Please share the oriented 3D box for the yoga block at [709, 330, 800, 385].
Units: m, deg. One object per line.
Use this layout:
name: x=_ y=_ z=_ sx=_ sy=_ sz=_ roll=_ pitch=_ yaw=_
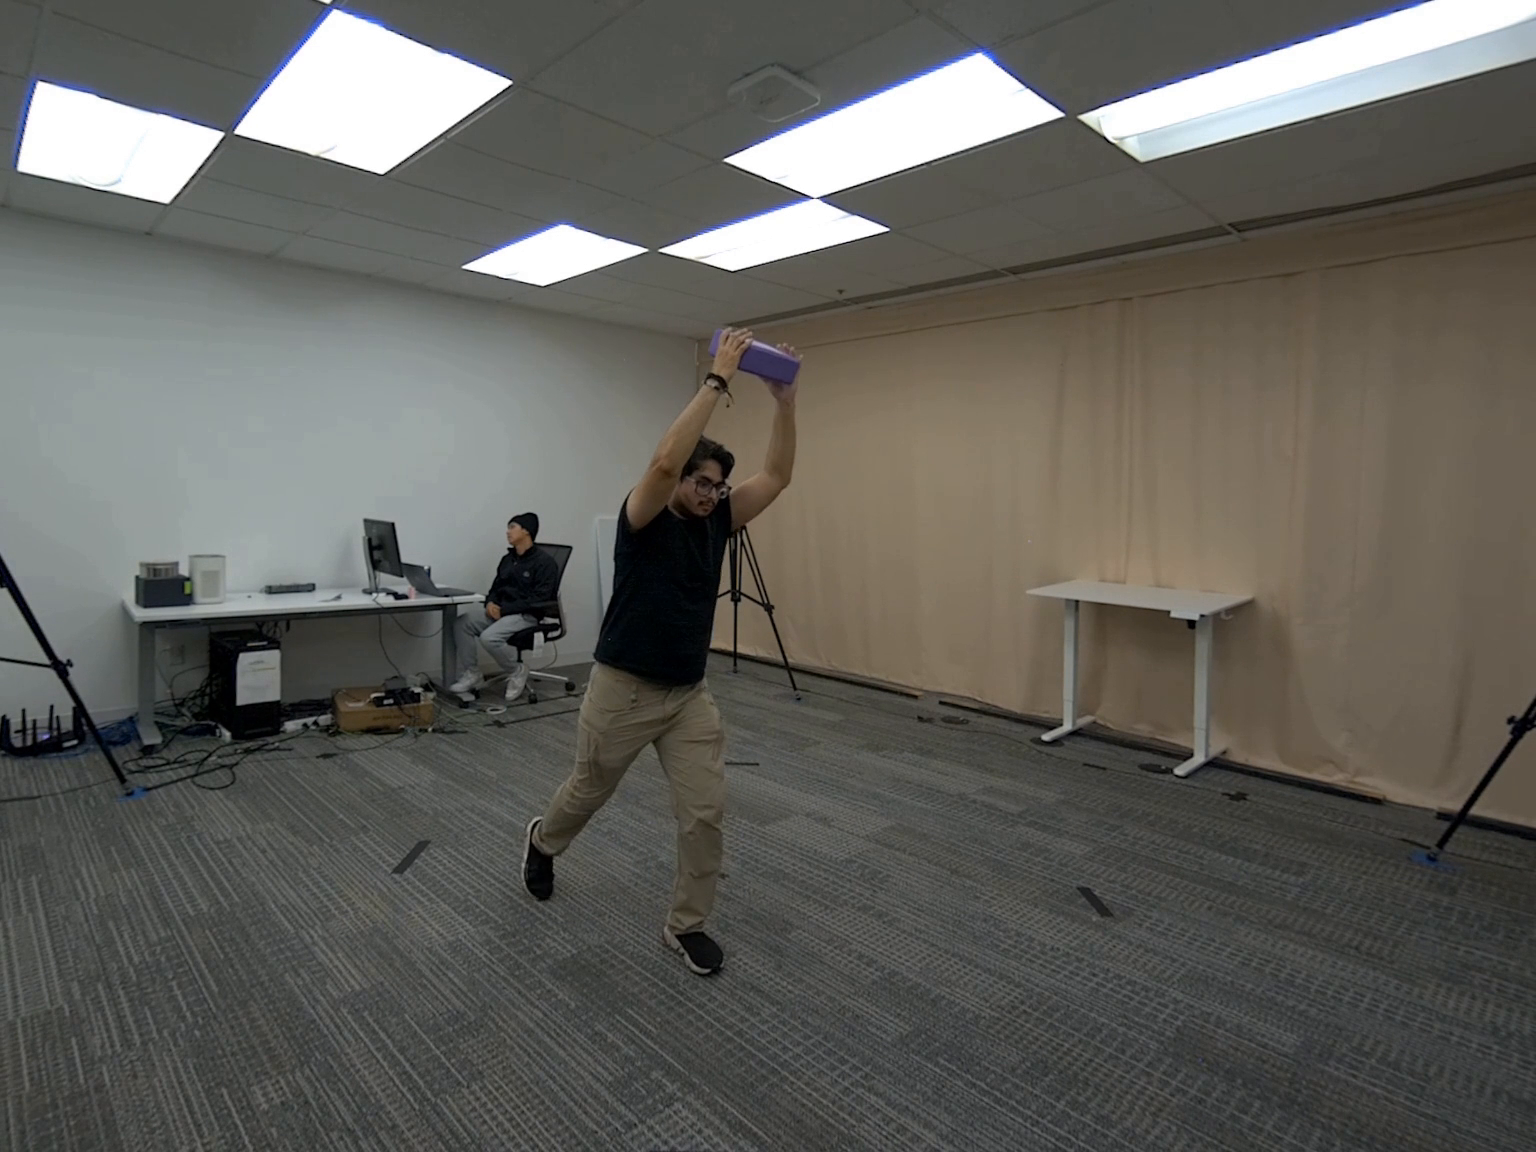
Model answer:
yoga block: x=-0.052 y=-0.615 z=2.366 sx=0.153 sy=0.076 sz=0.224 roll=33 pitch=19 yaw=35
